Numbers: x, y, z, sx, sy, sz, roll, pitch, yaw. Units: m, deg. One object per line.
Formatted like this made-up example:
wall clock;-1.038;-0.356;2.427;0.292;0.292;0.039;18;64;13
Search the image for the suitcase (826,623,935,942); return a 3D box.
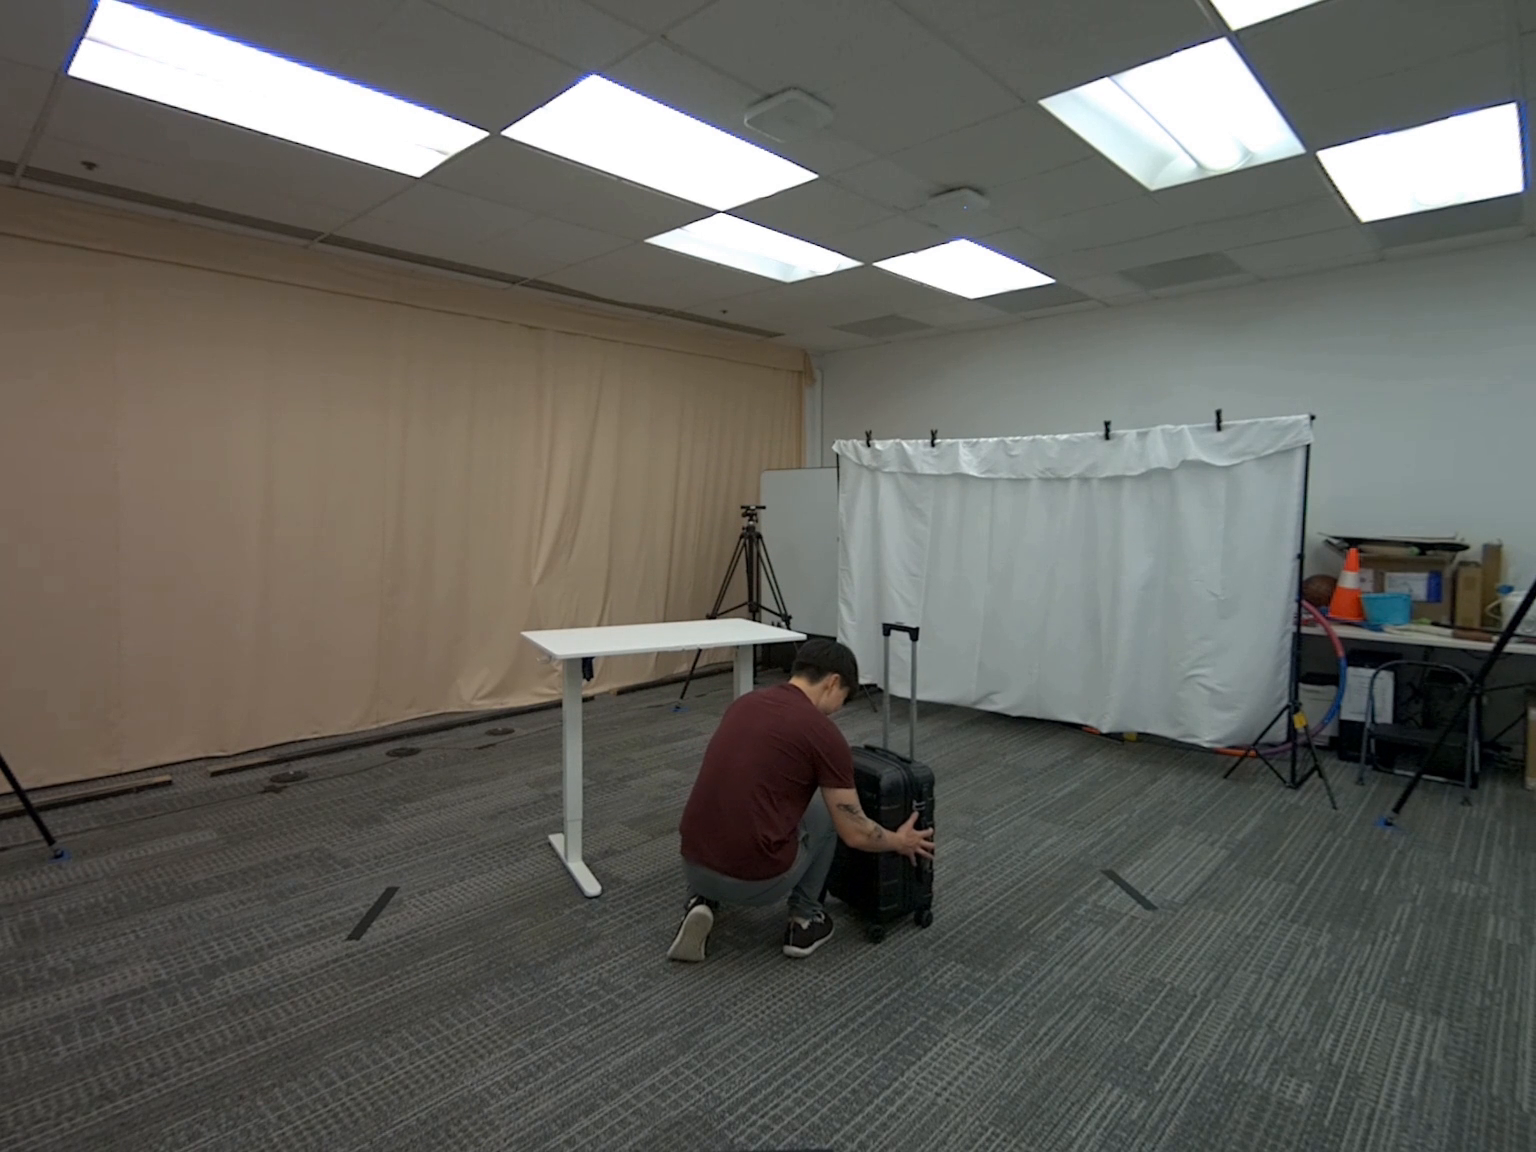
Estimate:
suitcase;0.381;0.668;2.853;0.250;0.977;0.395;0;2;-32
